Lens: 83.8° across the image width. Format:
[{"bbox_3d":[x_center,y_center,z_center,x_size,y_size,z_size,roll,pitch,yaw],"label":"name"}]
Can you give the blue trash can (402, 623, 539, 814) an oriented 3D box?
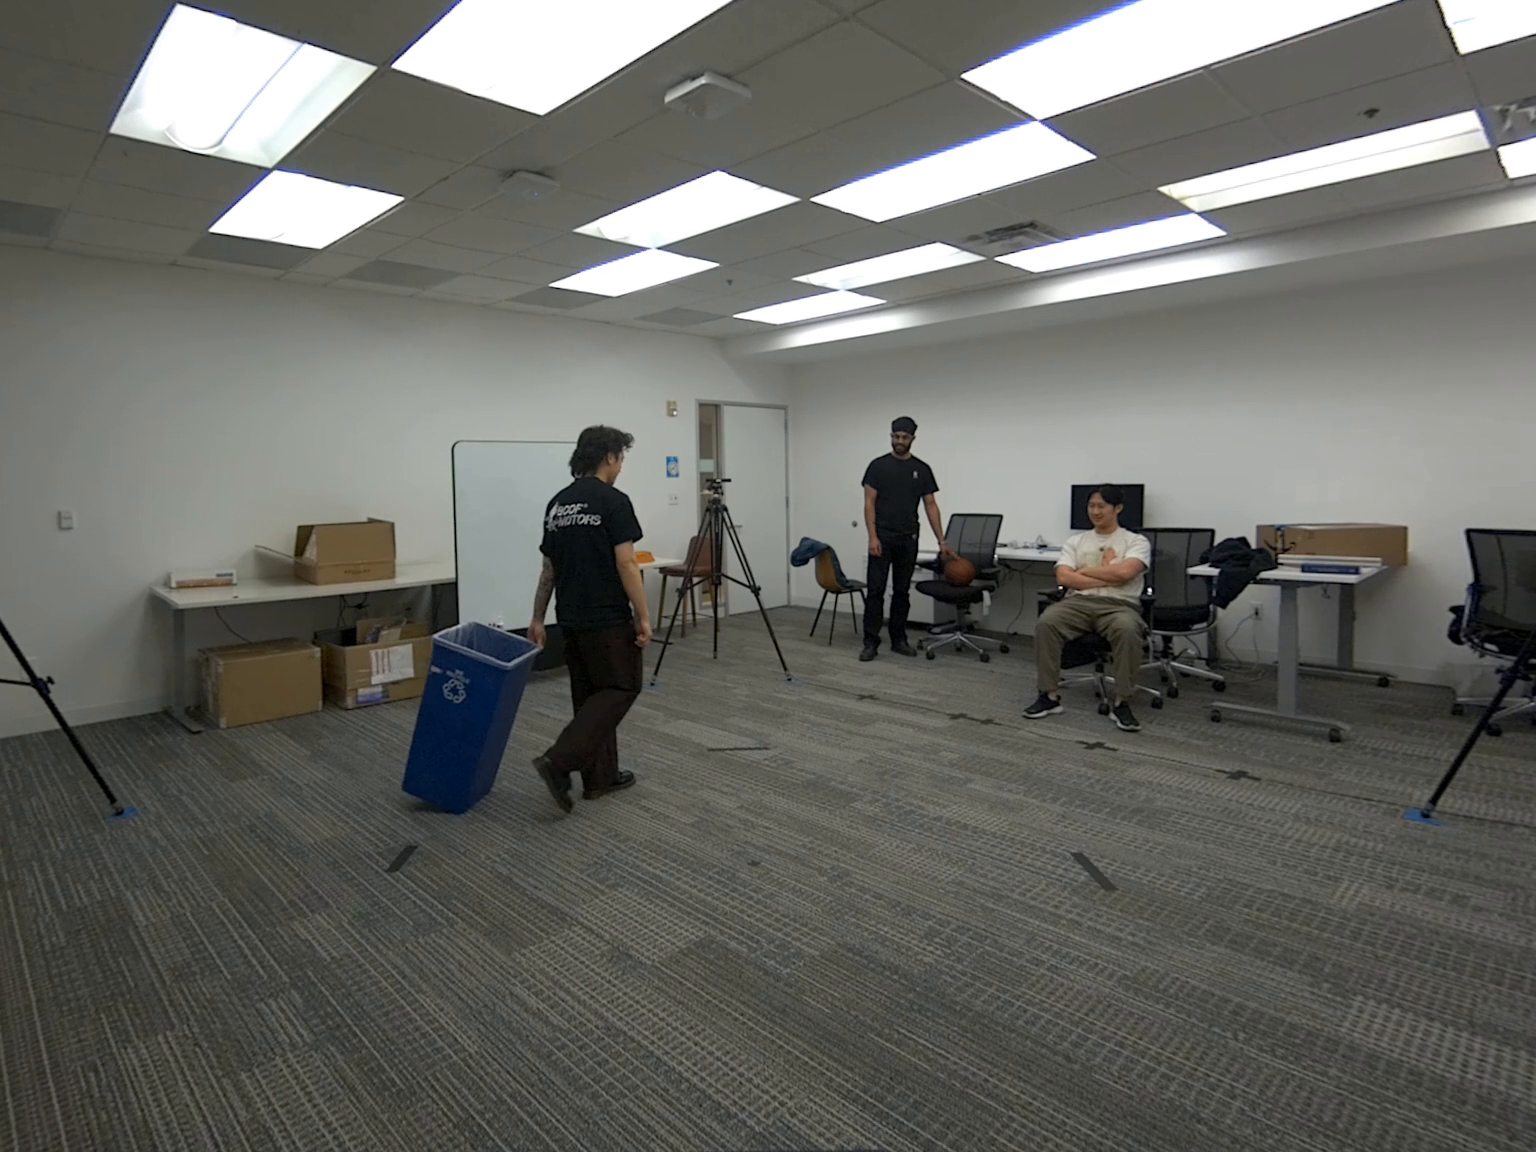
[{"bbox_3d":[-1.304,0.616,3.737,0.378,0.710,0.376,18,8,7],"label":"blue trash can"}]
